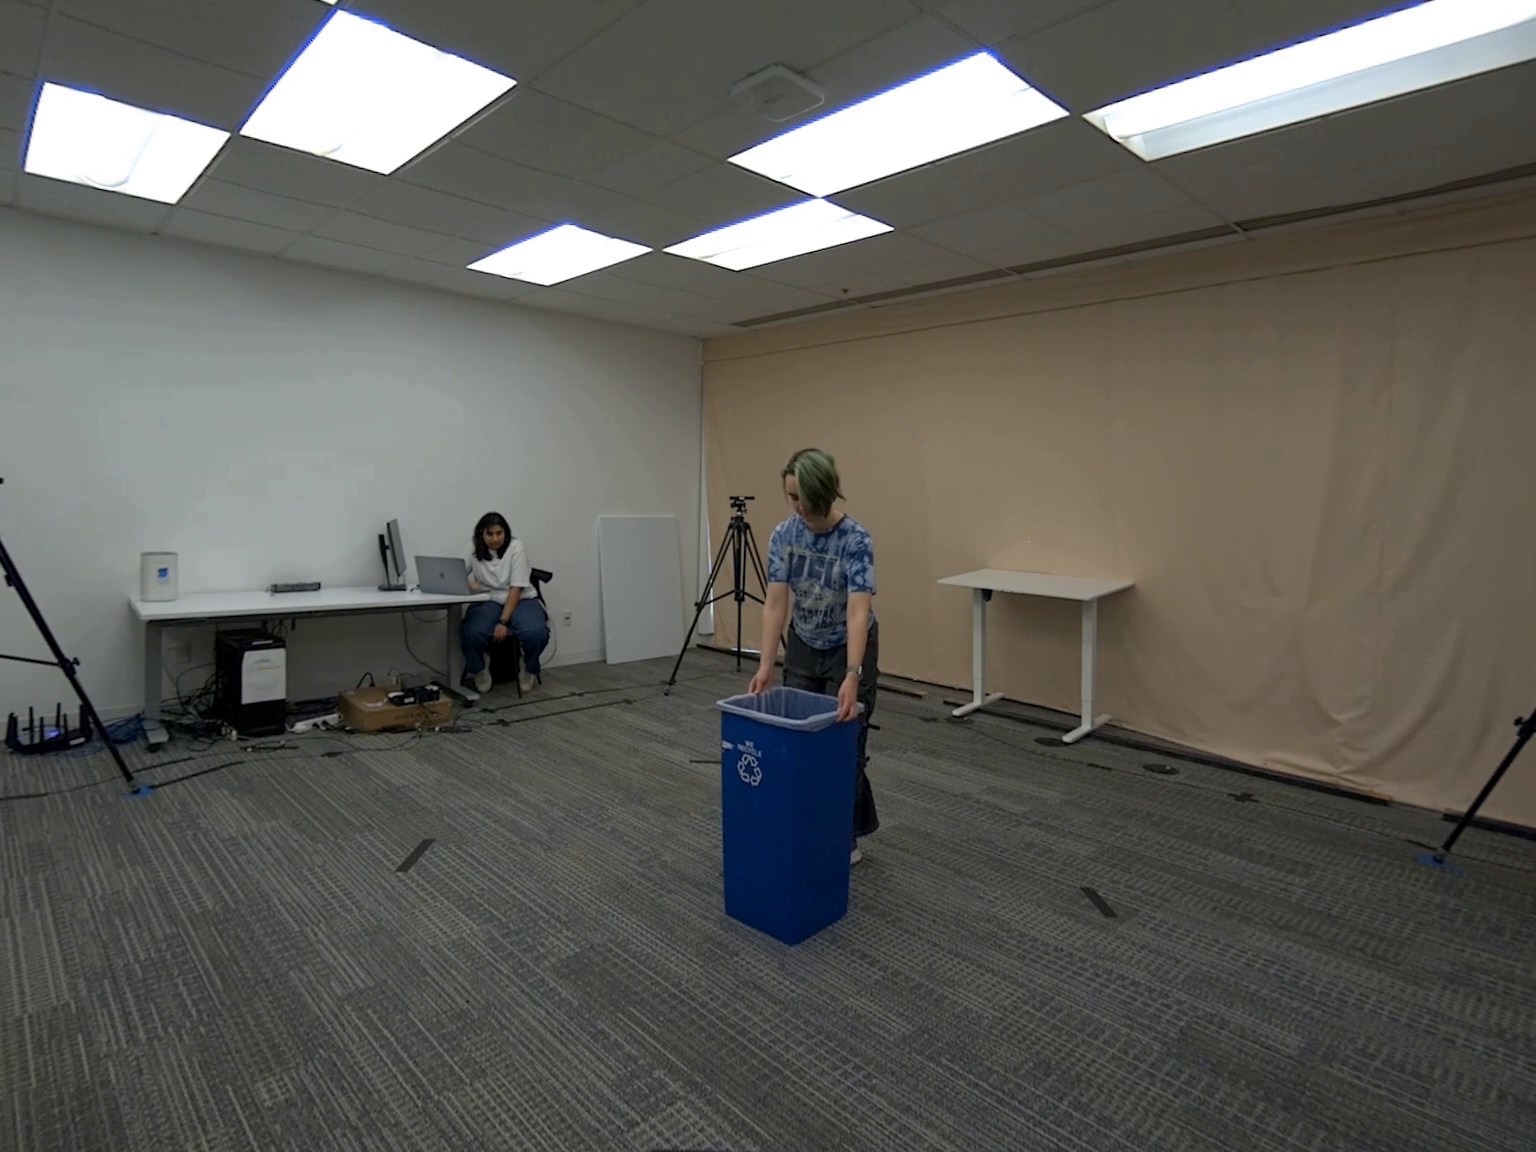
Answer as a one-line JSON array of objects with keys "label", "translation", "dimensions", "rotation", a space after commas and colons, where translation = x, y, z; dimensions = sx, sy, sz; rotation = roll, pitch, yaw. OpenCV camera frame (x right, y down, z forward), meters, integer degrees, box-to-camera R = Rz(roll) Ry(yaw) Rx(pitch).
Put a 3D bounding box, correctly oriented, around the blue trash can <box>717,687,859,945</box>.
[{"label": "blue trash can", "translation": [0.059, 0.776, 2.812], "dimensions": [0.383, 0.712, 0.369], "rotation": [4, 5, 42]}]
